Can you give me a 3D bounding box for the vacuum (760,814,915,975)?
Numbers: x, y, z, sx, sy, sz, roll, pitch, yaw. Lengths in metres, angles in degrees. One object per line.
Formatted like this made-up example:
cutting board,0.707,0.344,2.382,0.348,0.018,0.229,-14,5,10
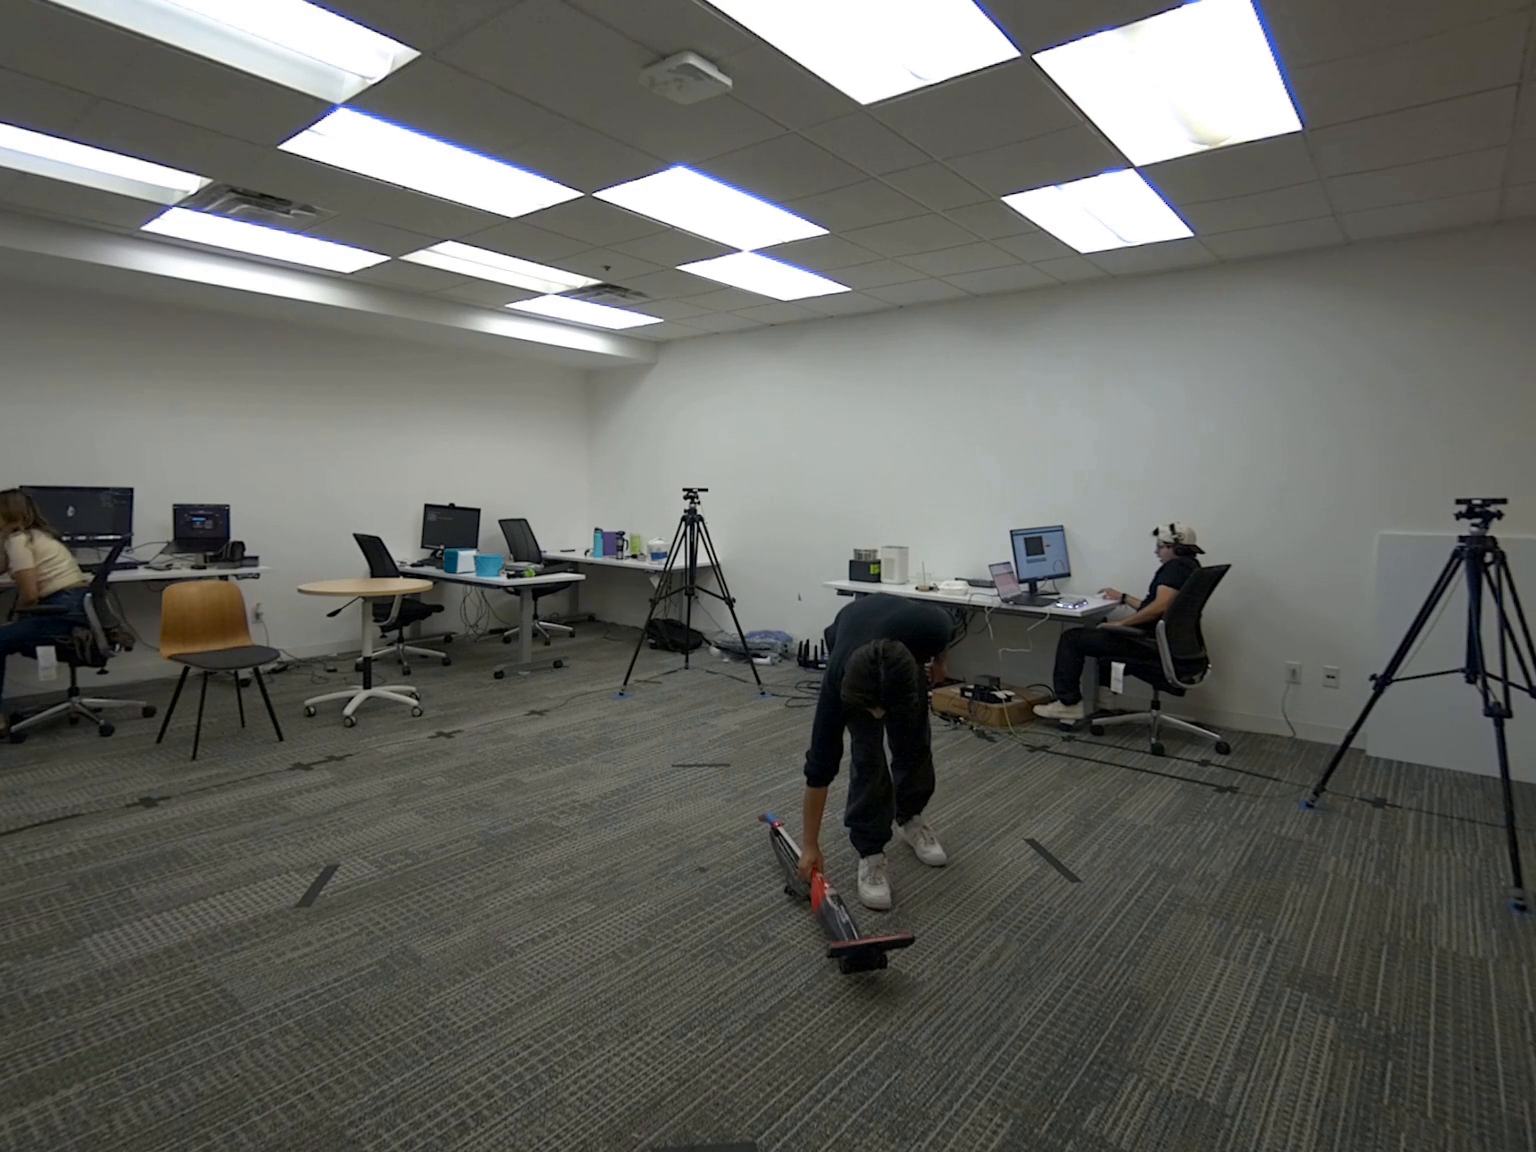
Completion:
vacuum,0.122,1.008,2.889,0.248,0.144,1.069,3,4,-17
